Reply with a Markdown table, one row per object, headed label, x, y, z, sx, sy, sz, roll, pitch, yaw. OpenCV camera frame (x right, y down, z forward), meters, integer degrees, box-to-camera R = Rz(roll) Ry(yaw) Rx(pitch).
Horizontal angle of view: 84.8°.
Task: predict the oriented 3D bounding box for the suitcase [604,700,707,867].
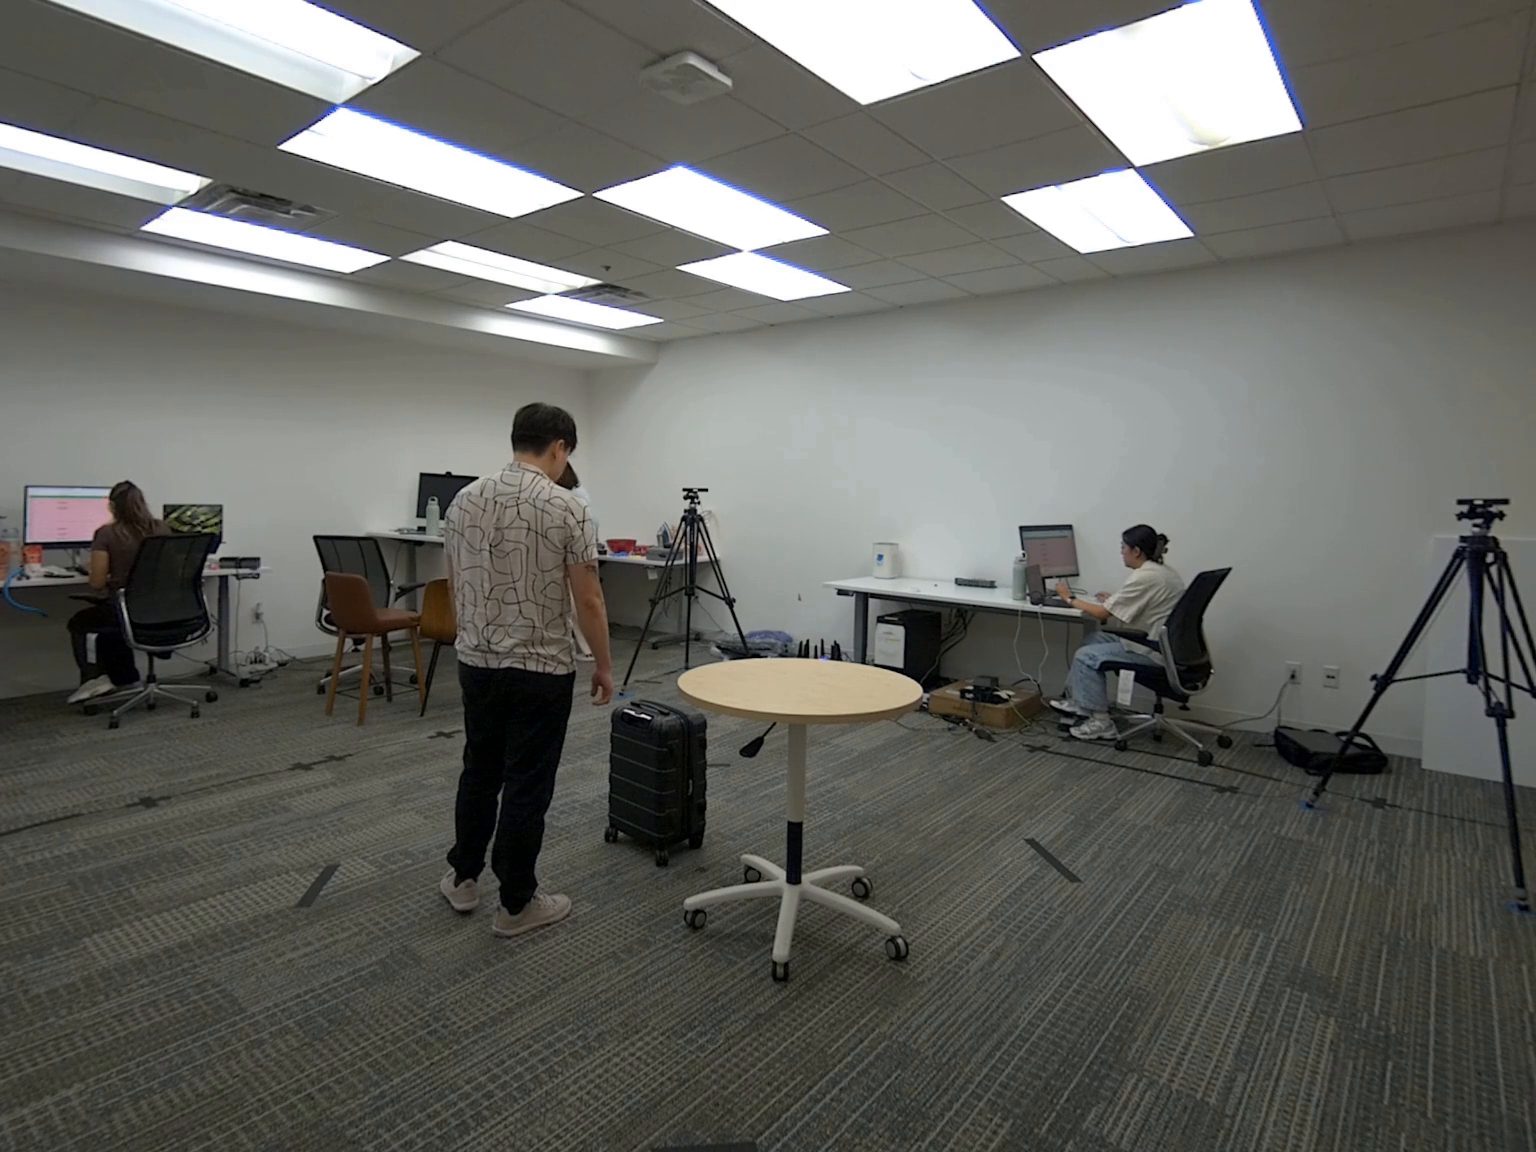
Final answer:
| label | x | y | z | sx | sy | sz | roll | pitch | yaw |
| --- | --- | --- | --- | --- | --- | --- | --- | --- | --- |
| suitcase | -0.446 | 0.767 | 3.327 | 0.388 | 0.549 | 0.240 | 4 | 2 | 44 |
